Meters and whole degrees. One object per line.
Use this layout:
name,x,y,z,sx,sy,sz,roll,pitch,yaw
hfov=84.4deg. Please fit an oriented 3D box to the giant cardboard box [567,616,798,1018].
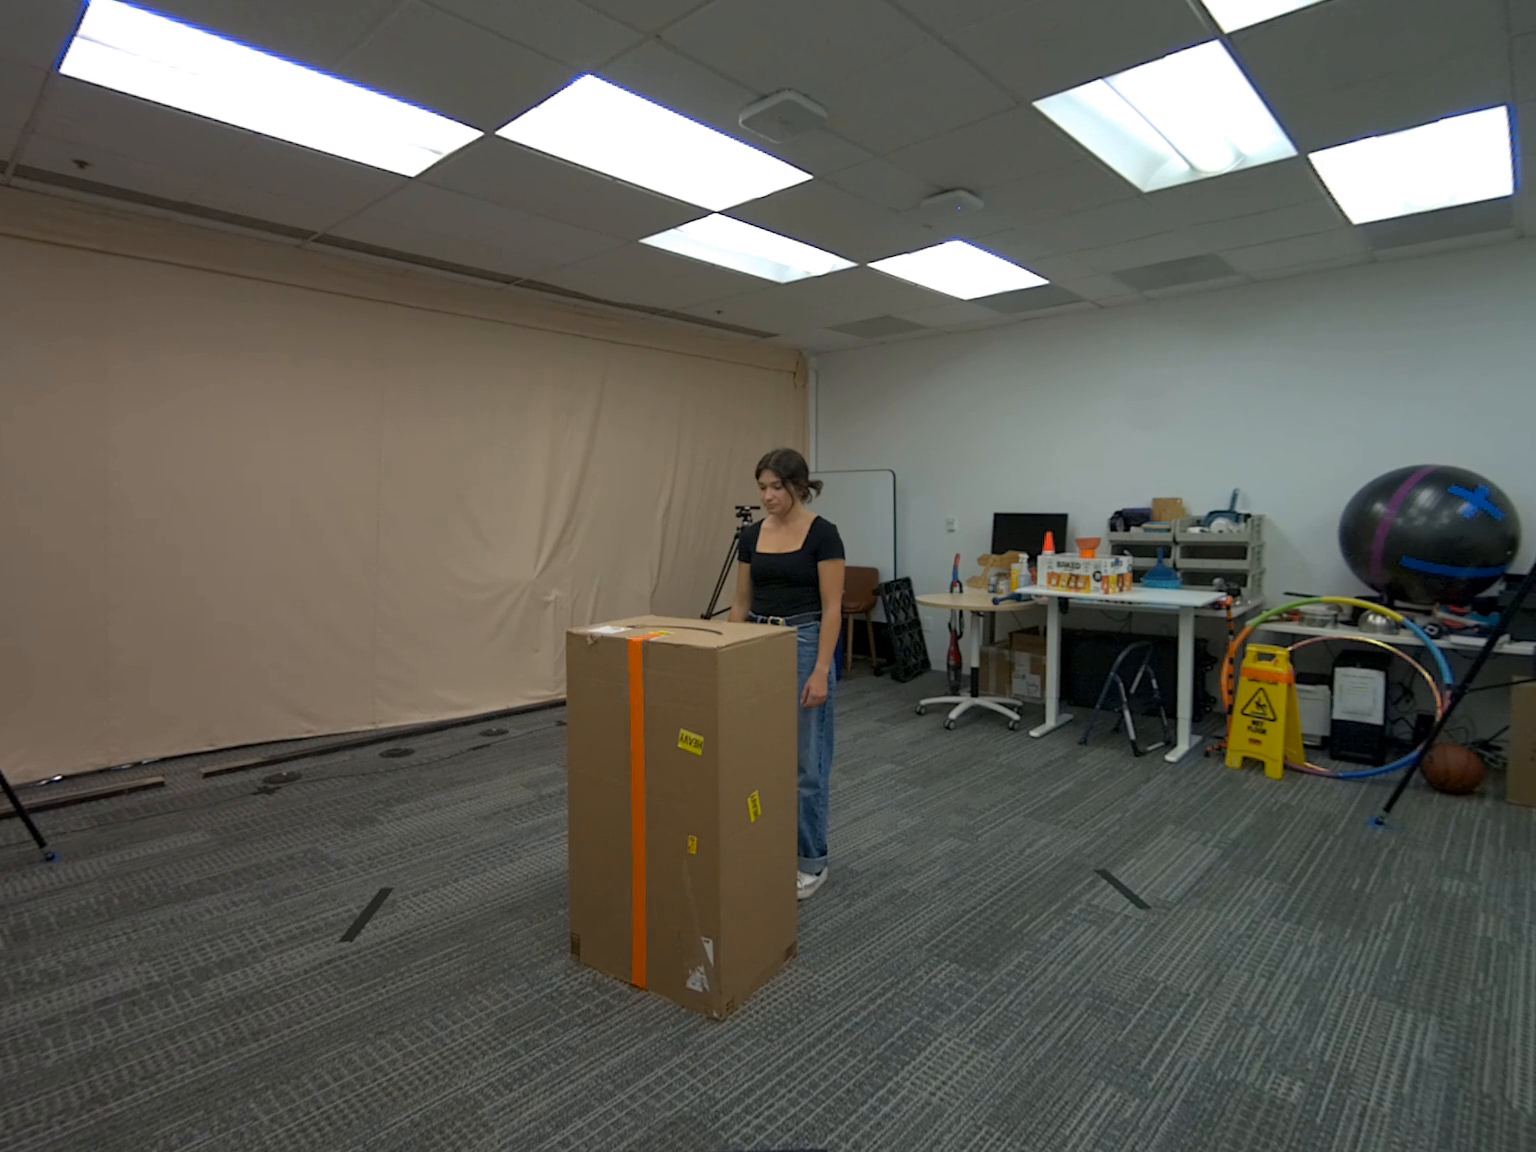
giant cardboard box,-0.268,0.671,2.576,0.595,1.024,0.414,2,4,34
